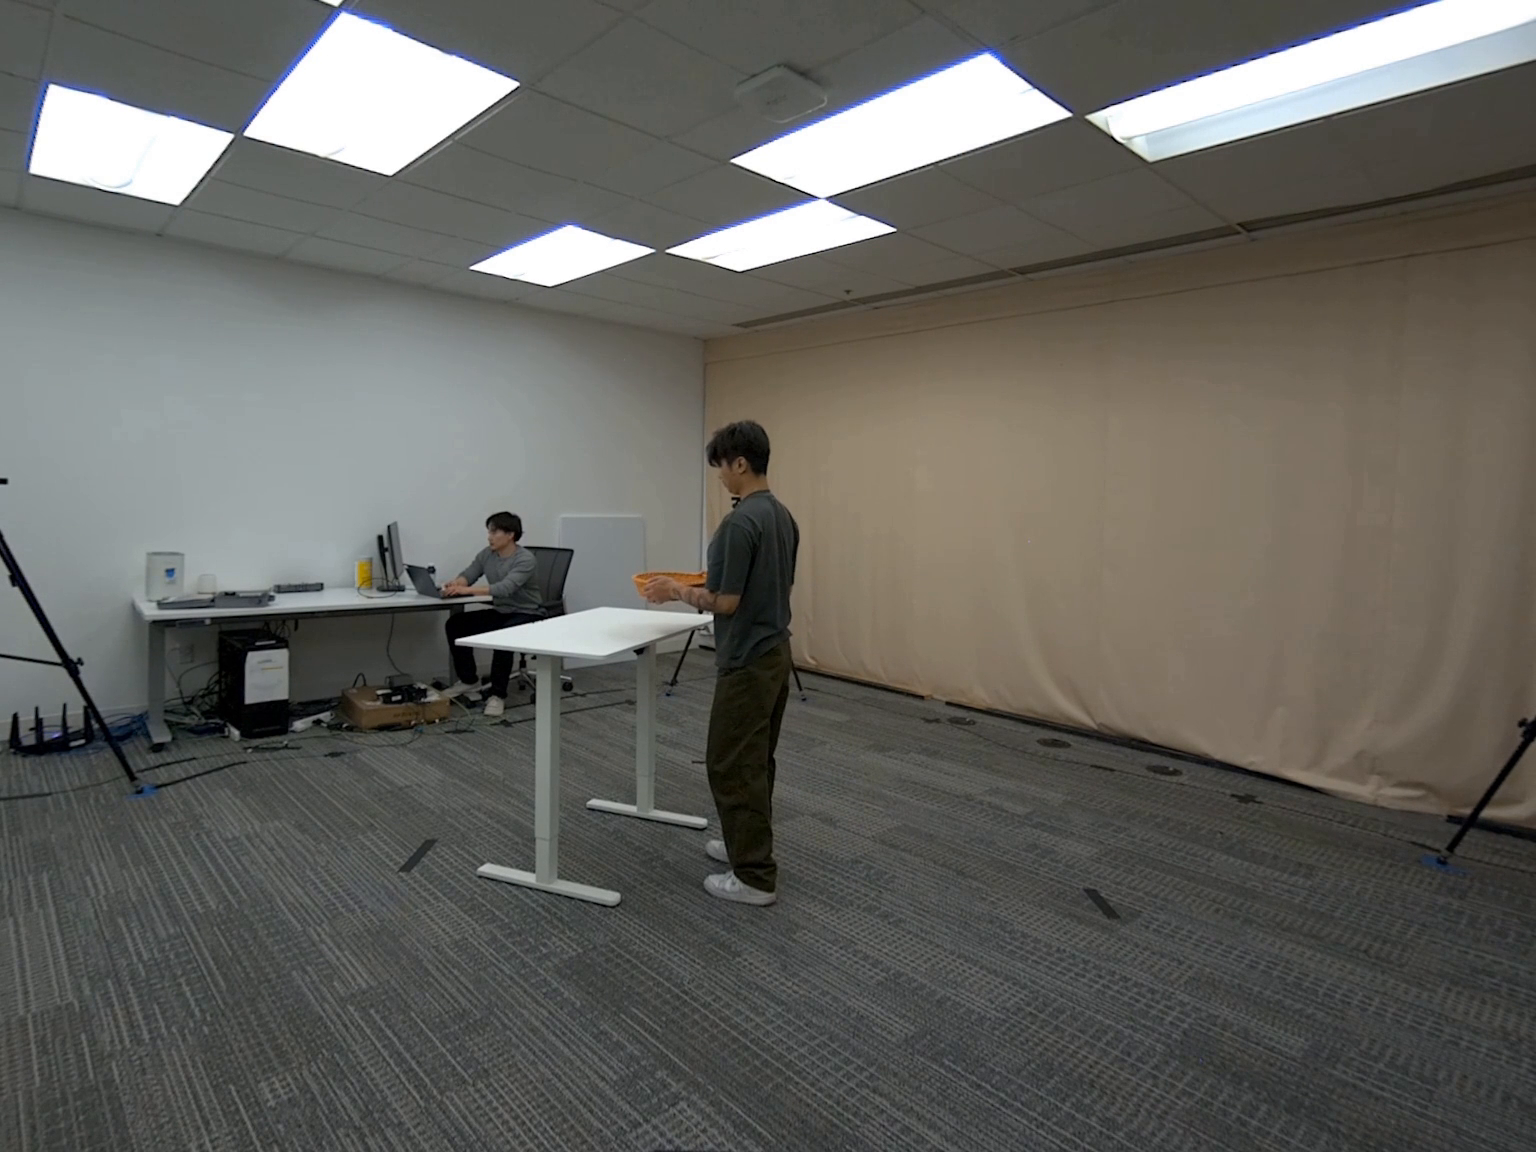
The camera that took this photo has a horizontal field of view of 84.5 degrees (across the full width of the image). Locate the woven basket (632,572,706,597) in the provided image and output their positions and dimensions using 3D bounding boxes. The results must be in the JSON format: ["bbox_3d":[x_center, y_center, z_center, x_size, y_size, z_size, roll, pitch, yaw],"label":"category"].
[{"bbox_3d":[-0.359,0.043,3.185,0.252,0.073,0.352,4,6,-1],"label":"woven basket"}]
